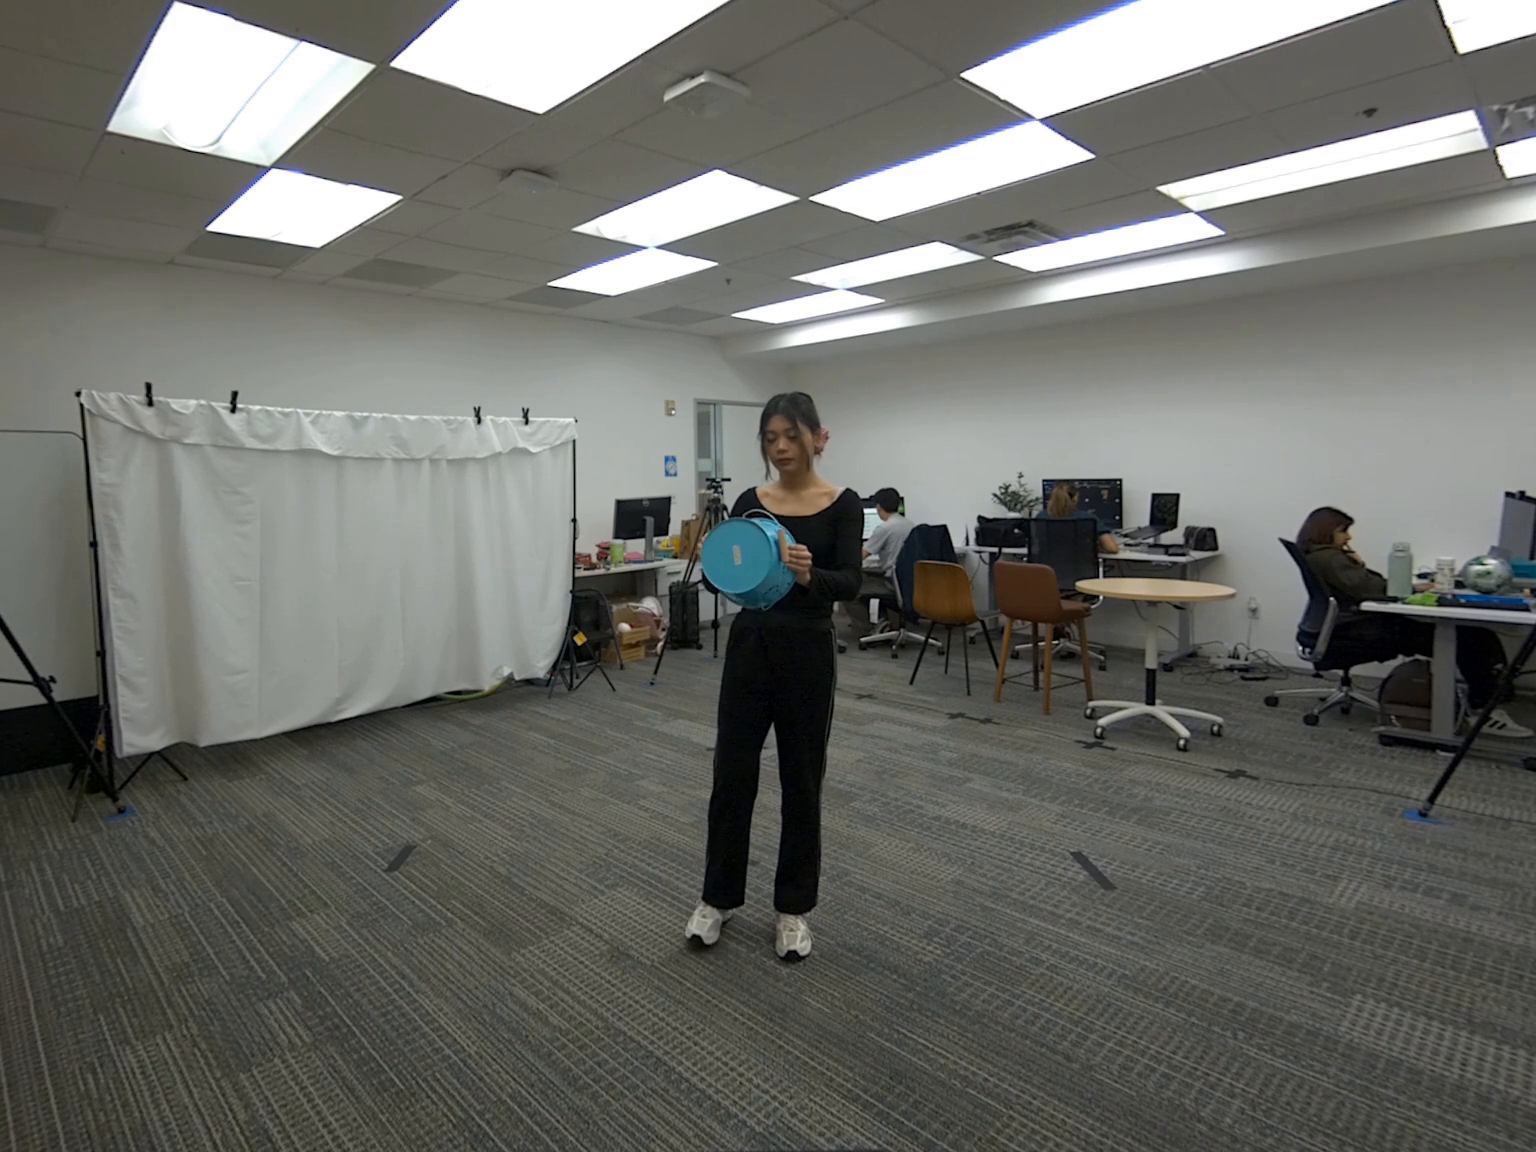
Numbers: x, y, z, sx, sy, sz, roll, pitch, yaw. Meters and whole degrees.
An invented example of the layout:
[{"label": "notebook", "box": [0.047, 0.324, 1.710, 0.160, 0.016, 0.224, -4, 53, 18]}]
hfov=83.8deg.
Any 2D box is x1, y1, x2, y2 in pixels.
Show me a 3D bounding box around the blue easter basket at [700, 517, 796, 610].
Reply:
[{"label": "blue easter basket", "box": [-0.052, -0.034, 2.102, 0.248, 0.245, 0.152, 1, -8, 18]}]
